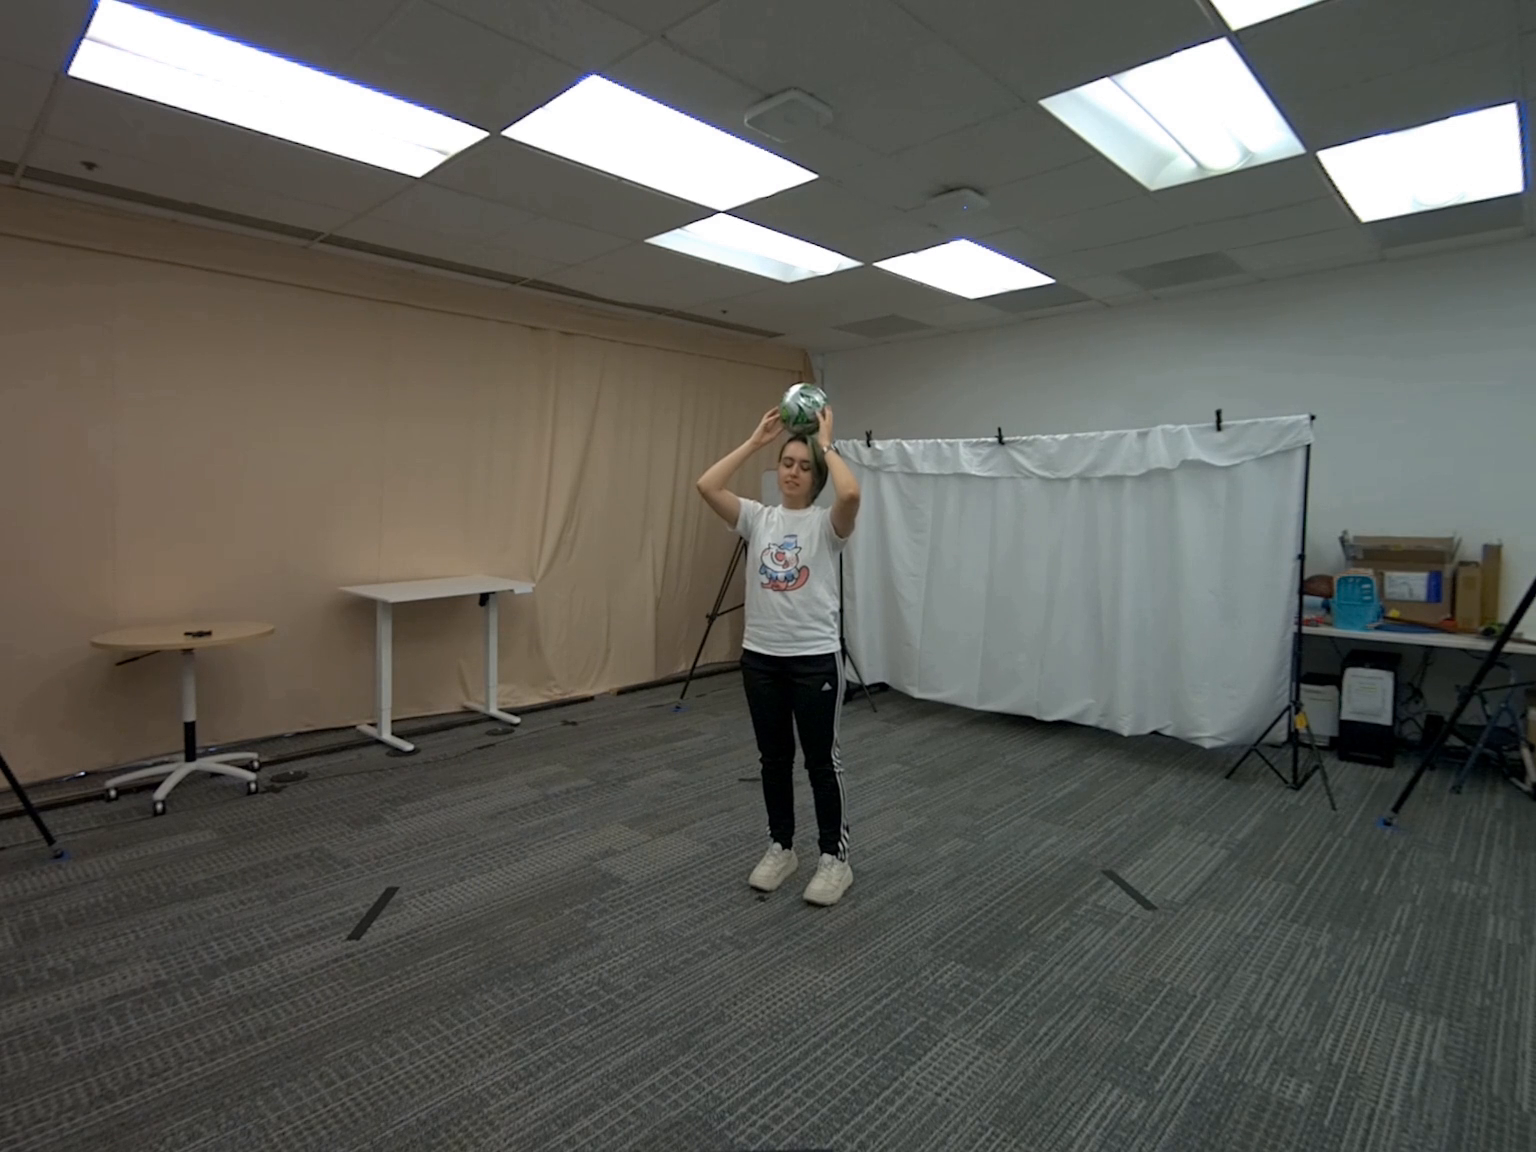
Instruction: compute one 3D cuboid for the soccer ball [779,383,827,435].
[{"bbox_3d":[0.133,-0.592,3.009,0.187,0.187,0.188,0,4,-2],"label":"soccer ball"}]
